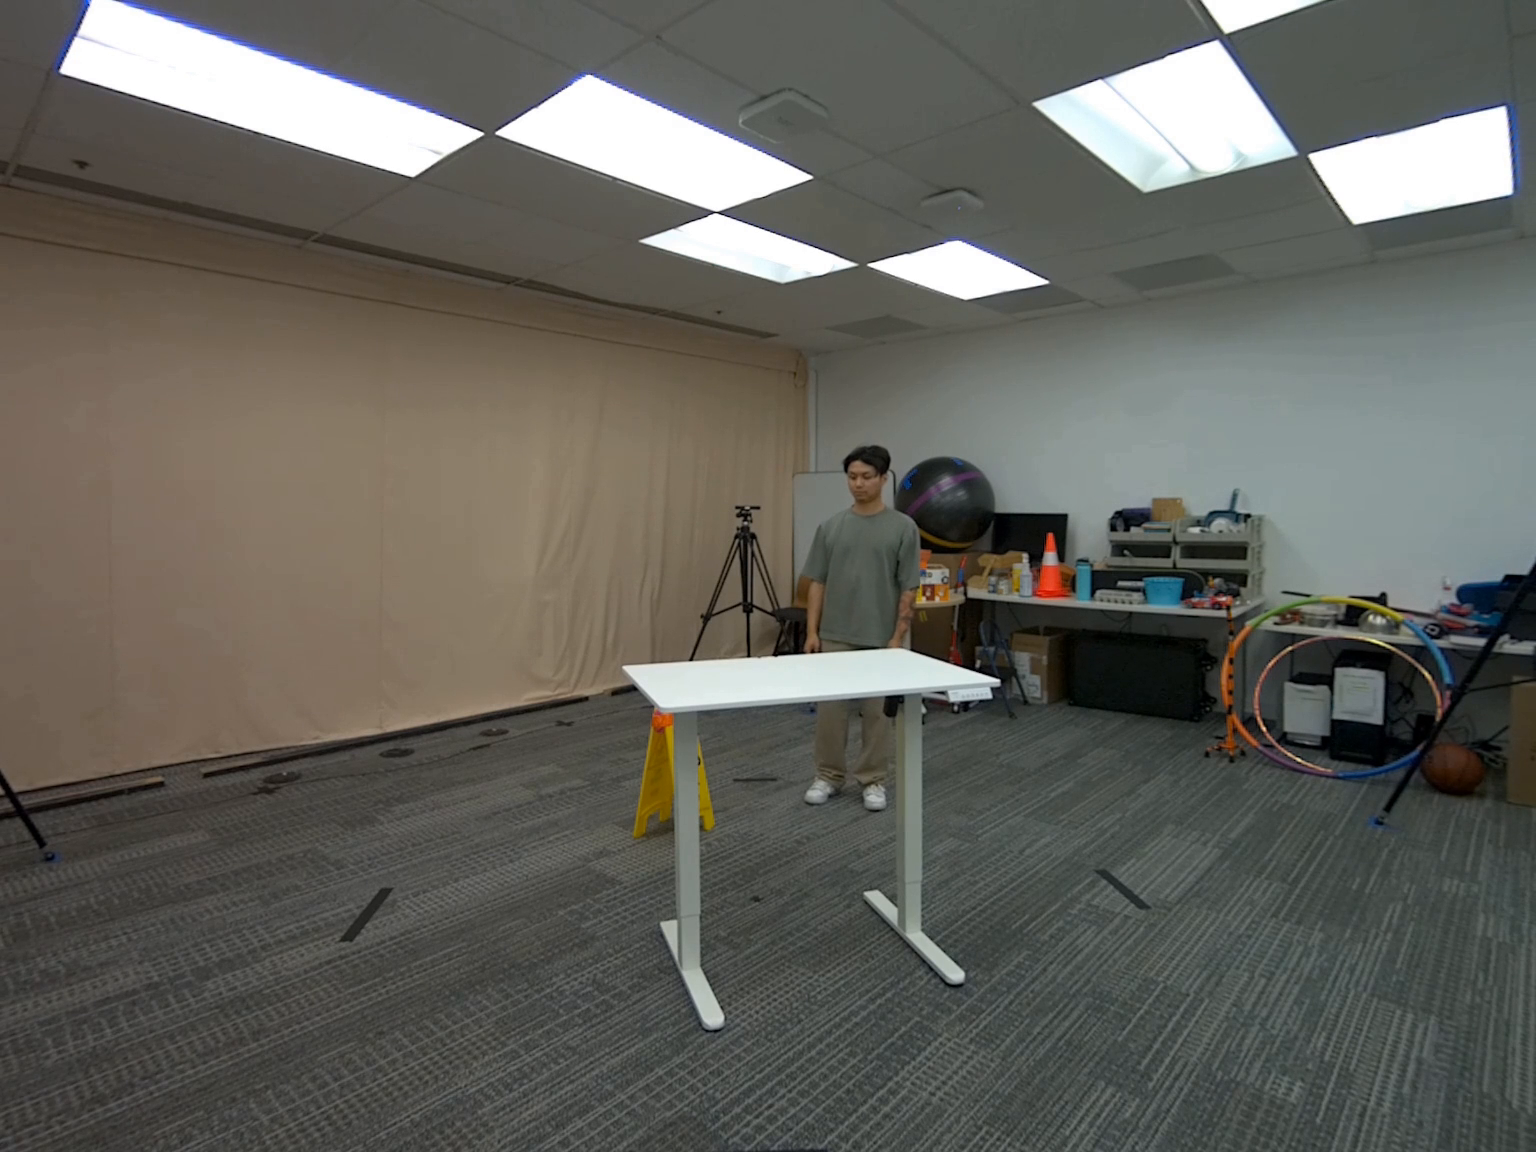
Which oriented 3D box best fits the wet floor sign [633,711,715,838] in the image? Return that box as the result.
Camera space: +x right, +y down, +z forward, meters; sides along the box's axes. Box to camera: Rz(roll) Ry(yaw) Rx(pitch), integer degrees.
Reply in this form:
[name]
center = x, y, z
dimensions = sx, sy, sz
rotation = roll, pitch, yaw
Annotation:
[wet floor sign]
center = -0.404, 0.774, 3.589
dimensions = 0.297, 0.645, 0.275
rotation = 0, 2, 25
